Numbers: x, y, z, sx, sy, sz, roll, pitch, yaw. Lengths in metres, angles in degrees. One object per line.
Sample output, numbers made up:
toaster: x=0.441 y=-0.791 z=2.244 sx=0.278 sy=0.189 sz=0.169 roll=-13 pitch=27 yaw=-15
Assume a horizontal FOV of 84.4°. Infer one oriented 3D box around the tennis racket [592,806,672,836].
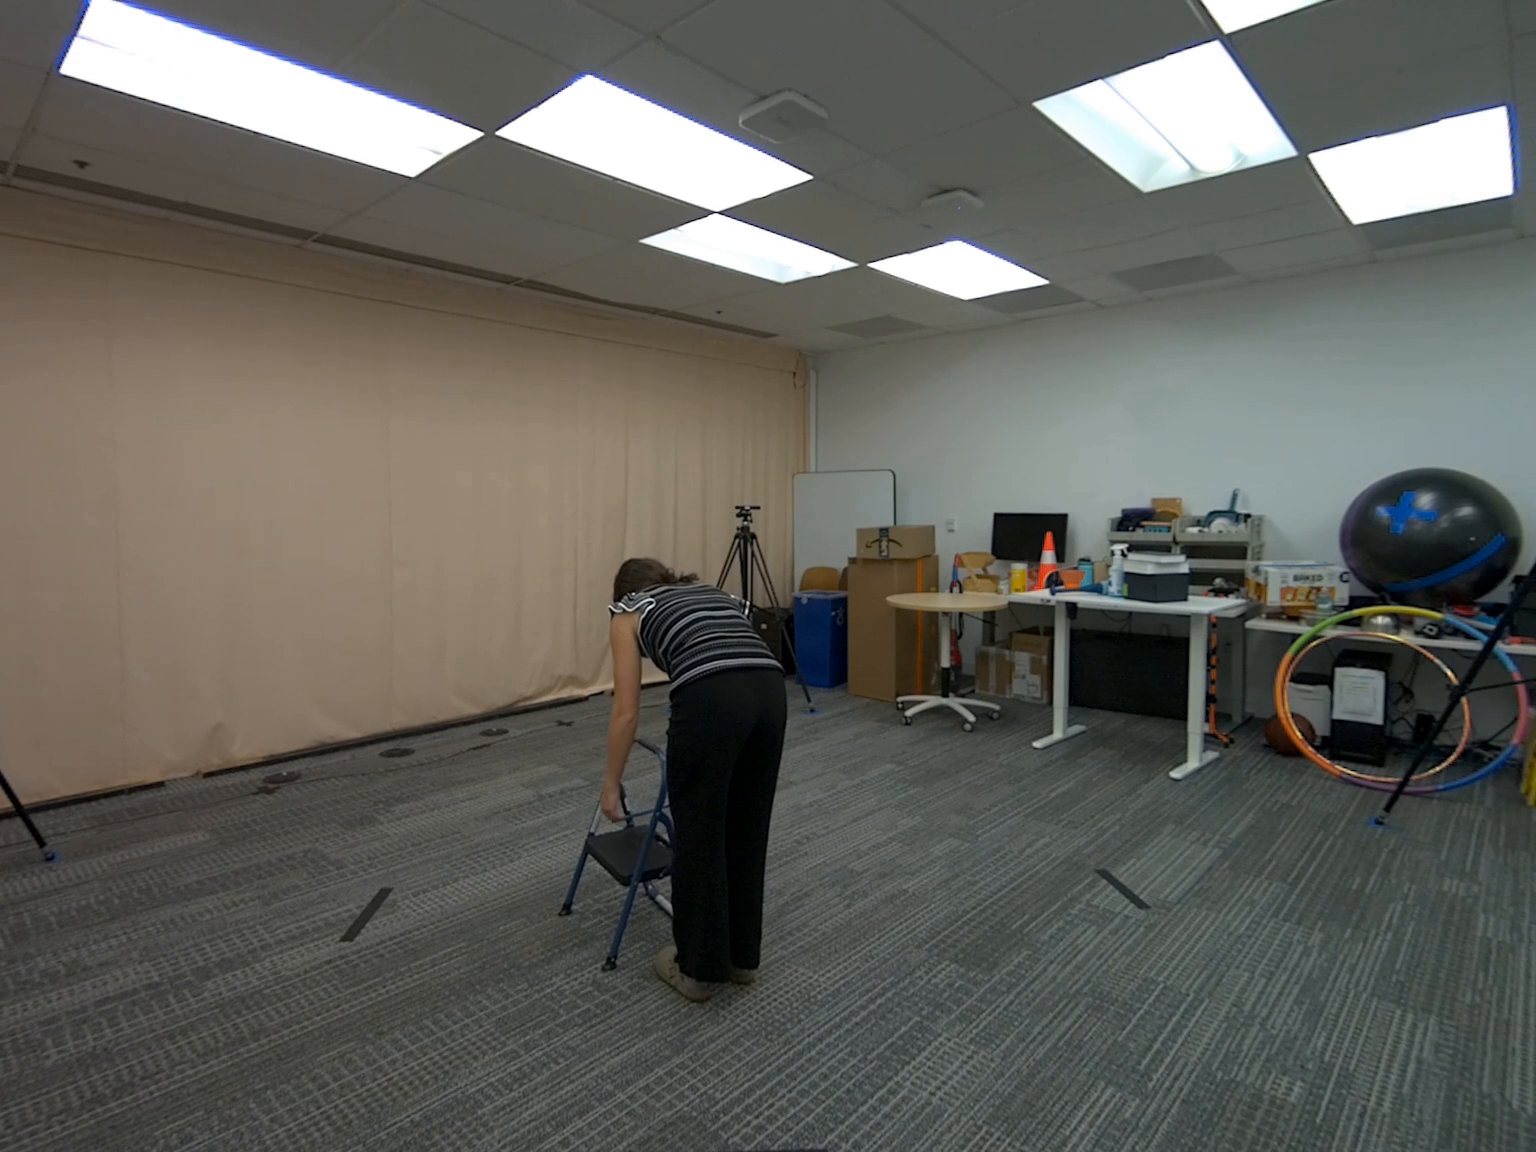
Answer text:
tennis racket: x=-0.345 y=0.781 z=2.787 sx=0.441 sy=0.032 sz=0.207 roll=-20 pitch=-13 yaw=28
